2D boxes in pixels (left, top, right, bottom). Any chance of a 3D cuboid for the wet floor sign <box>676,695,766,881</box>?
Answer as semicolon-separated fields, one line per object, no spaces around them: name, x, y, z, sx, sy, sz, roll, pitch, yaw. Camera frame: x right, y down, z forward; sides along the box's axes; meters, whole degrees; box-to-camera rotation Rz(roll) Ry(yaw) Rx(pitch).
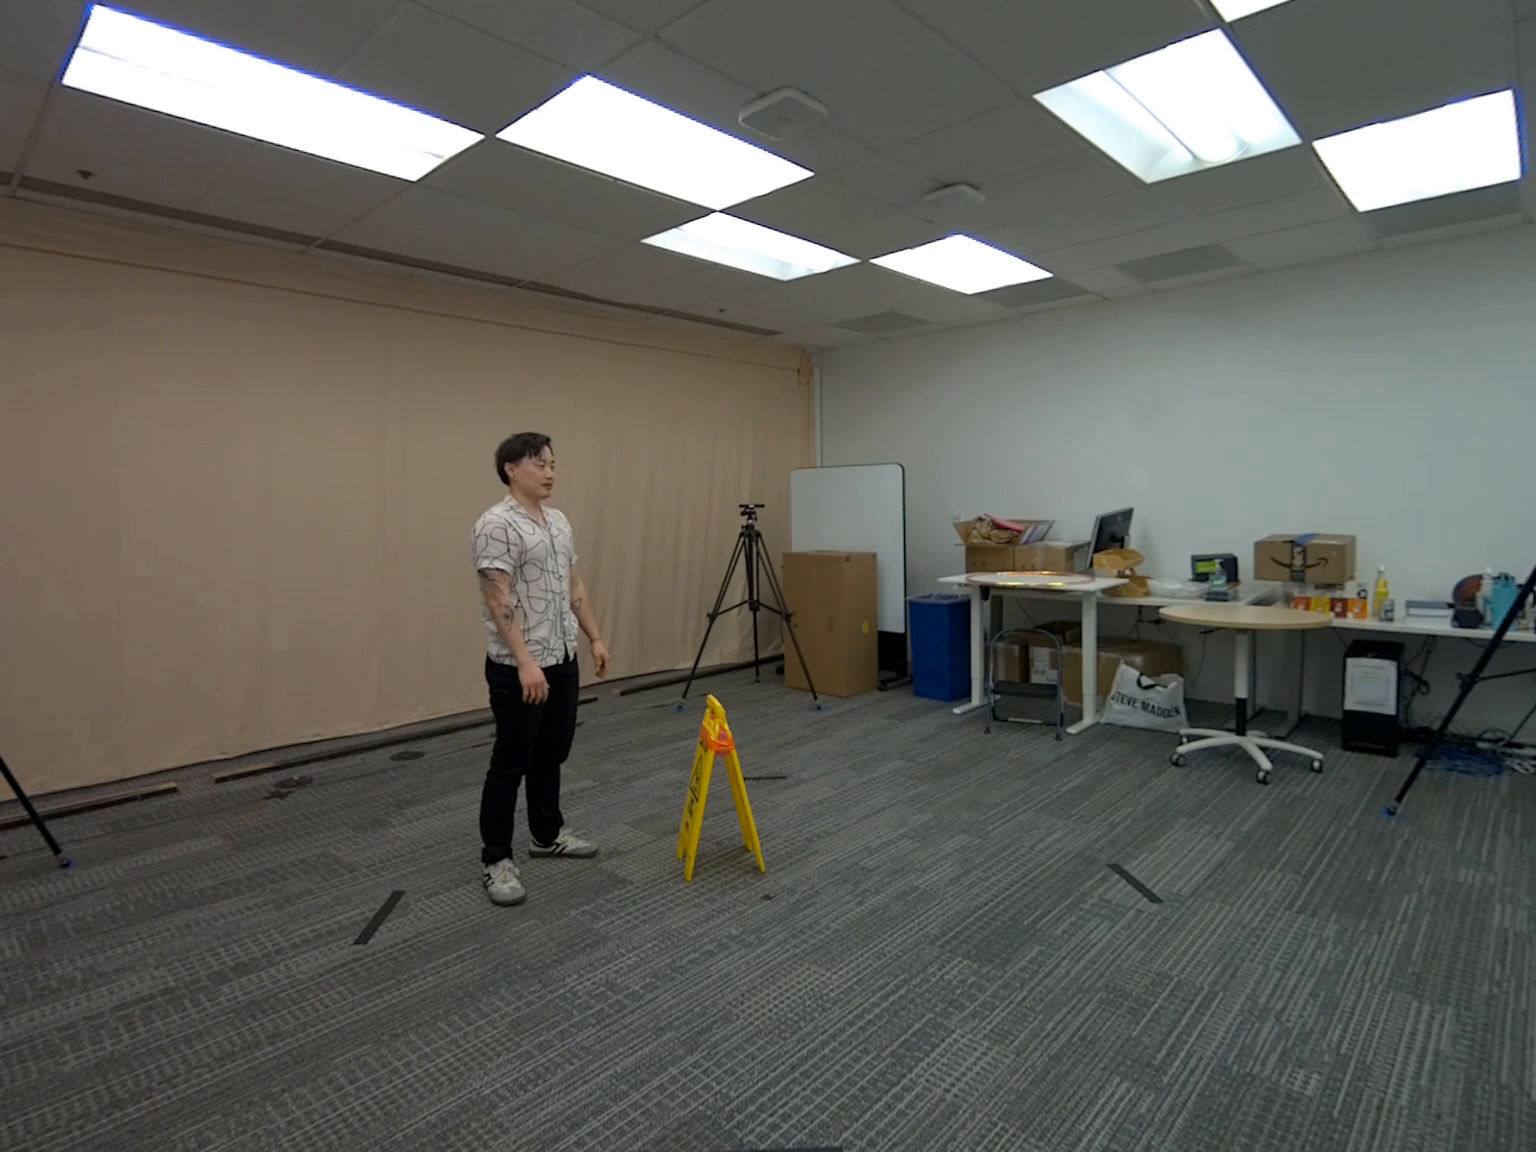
wet floor sign;-0.195;0.792;3.257;0.285;0.645;0.287;-2;3;-15
